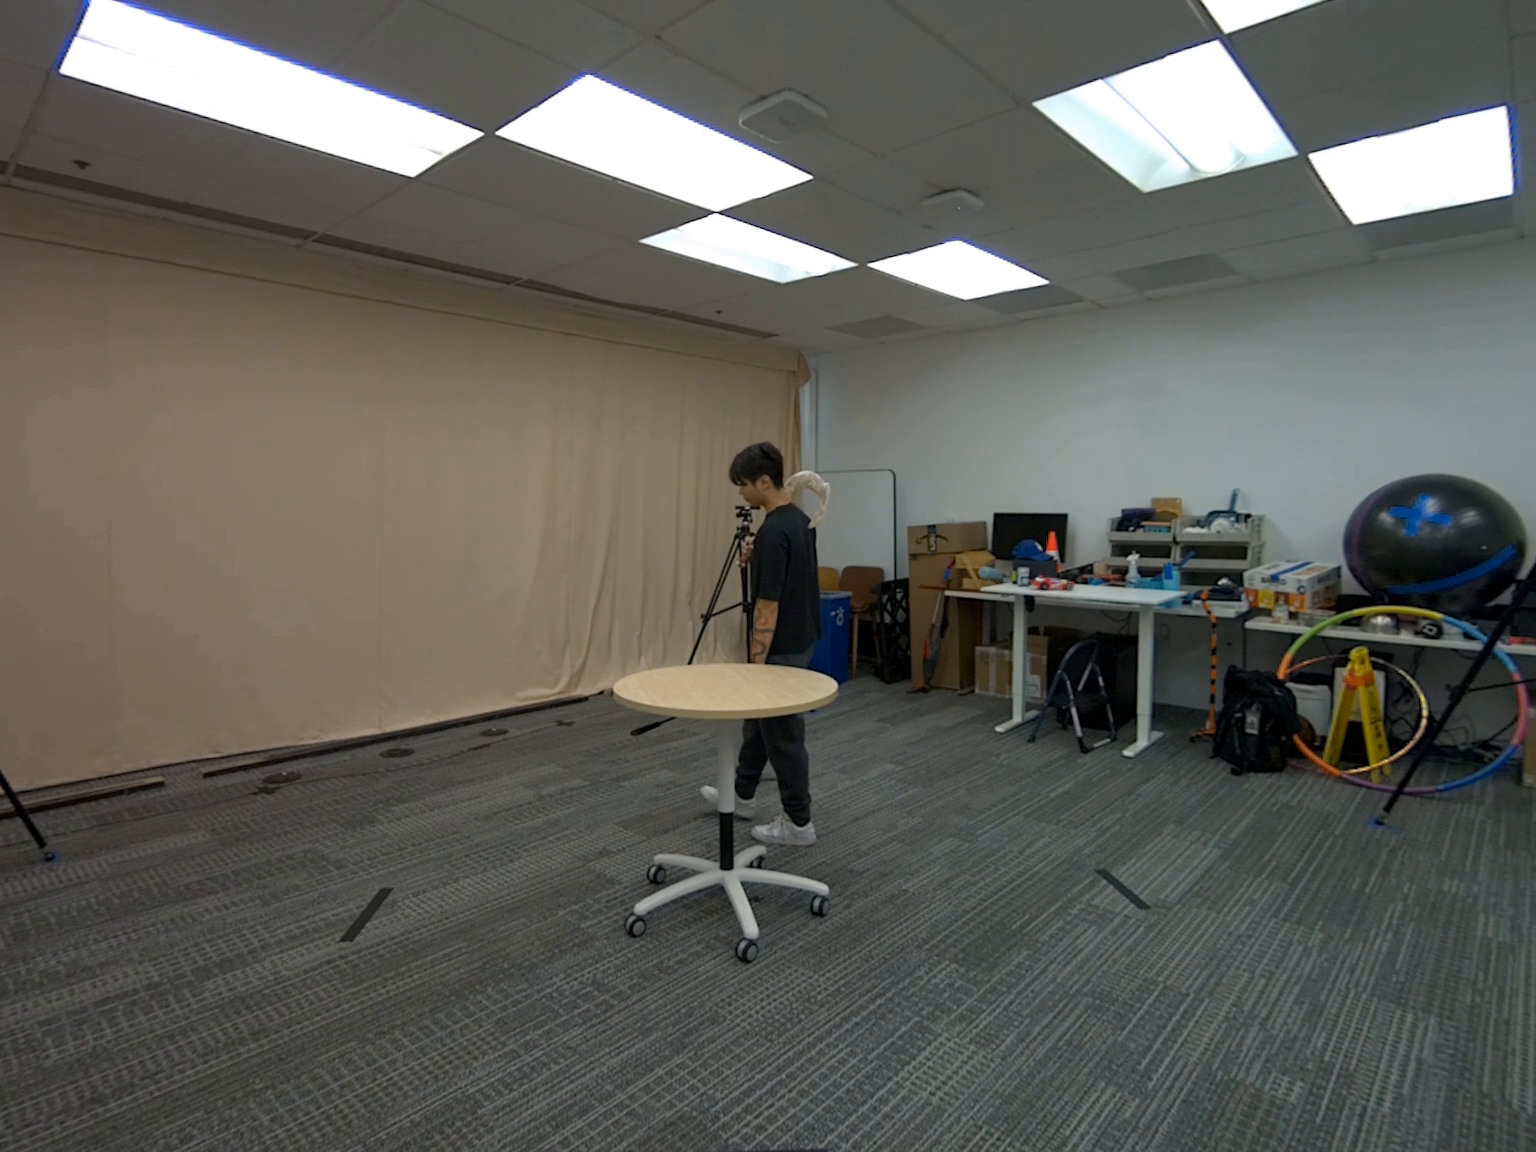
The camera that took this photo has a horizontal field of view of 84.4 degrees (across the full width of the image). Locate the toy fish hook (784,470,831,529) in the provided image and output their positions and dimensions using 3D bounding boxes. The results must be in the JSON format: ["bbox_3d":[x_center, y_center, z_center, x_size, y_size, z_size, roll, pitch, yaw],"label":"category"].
[{"bbox_3d":[0.070,-0.209,3.519,0.231,0.507,0.047,40,12,24],"label":"toy fish hook"}]
